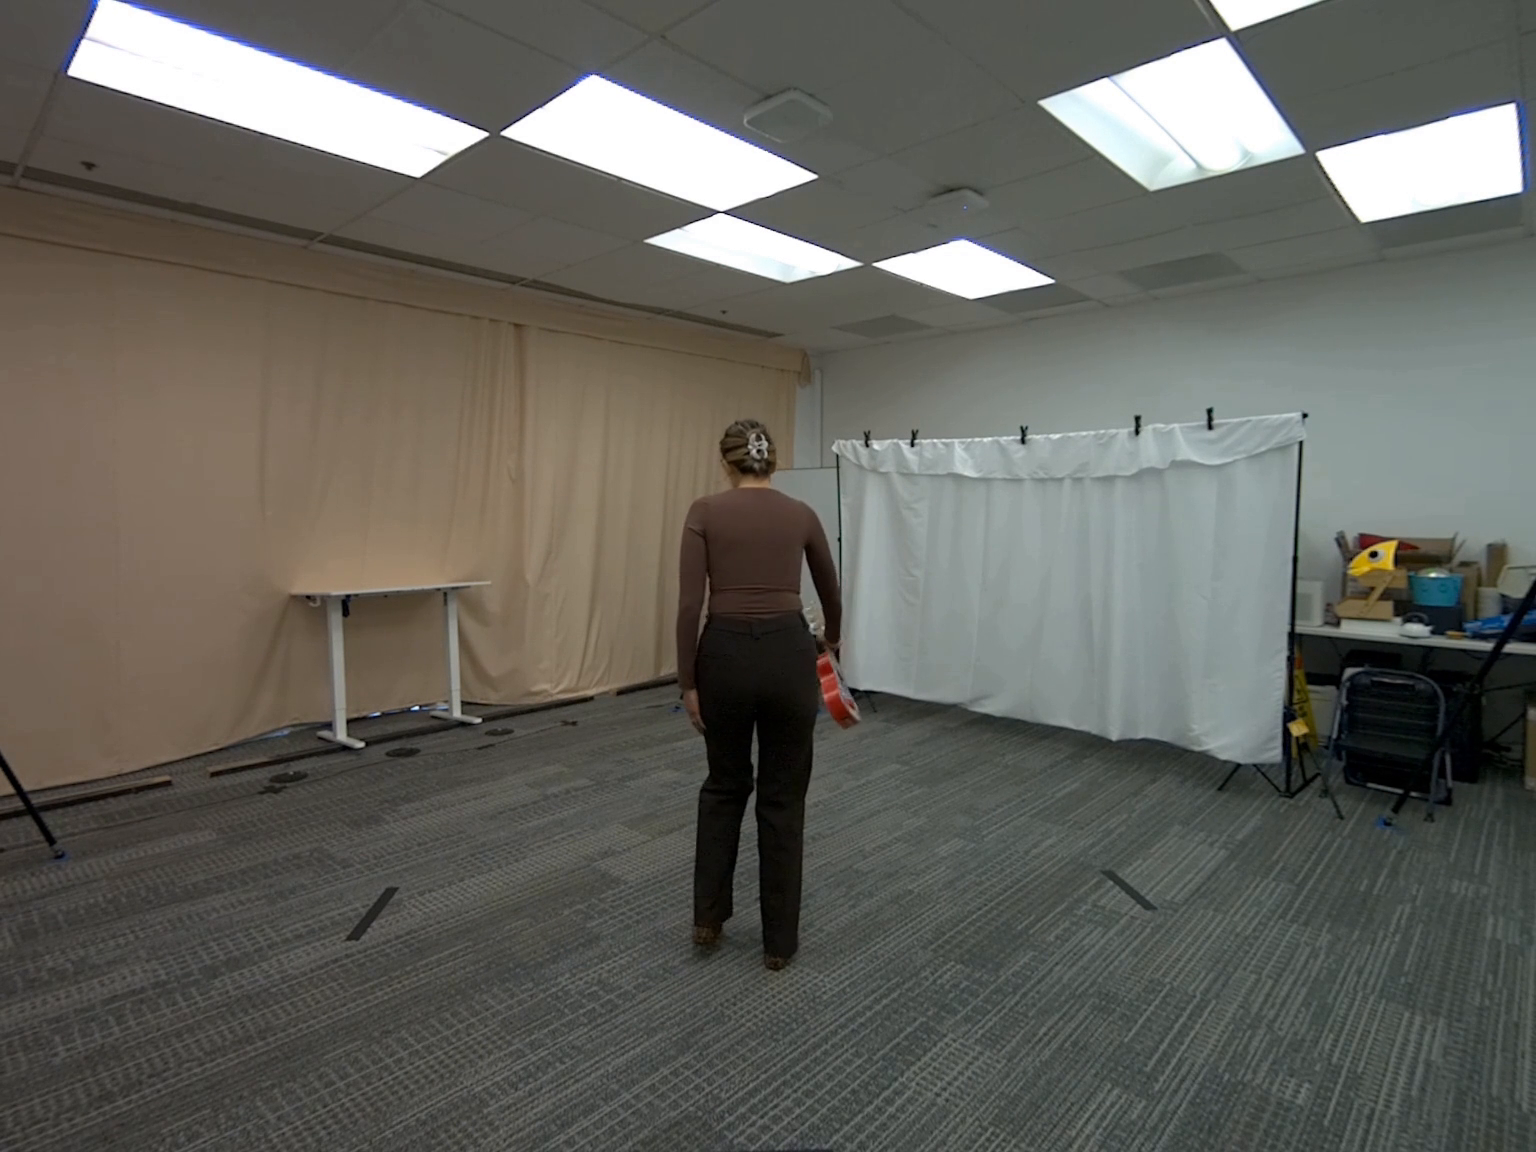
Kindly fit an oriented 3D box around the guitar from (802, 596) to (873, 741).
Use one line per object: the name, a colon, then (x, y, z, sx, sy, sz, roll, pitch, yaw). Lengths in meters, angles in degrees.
guitar: (0.237, 0.322, 3.047, 0.071, 0.510, 0.186, -28, -45, 14)
